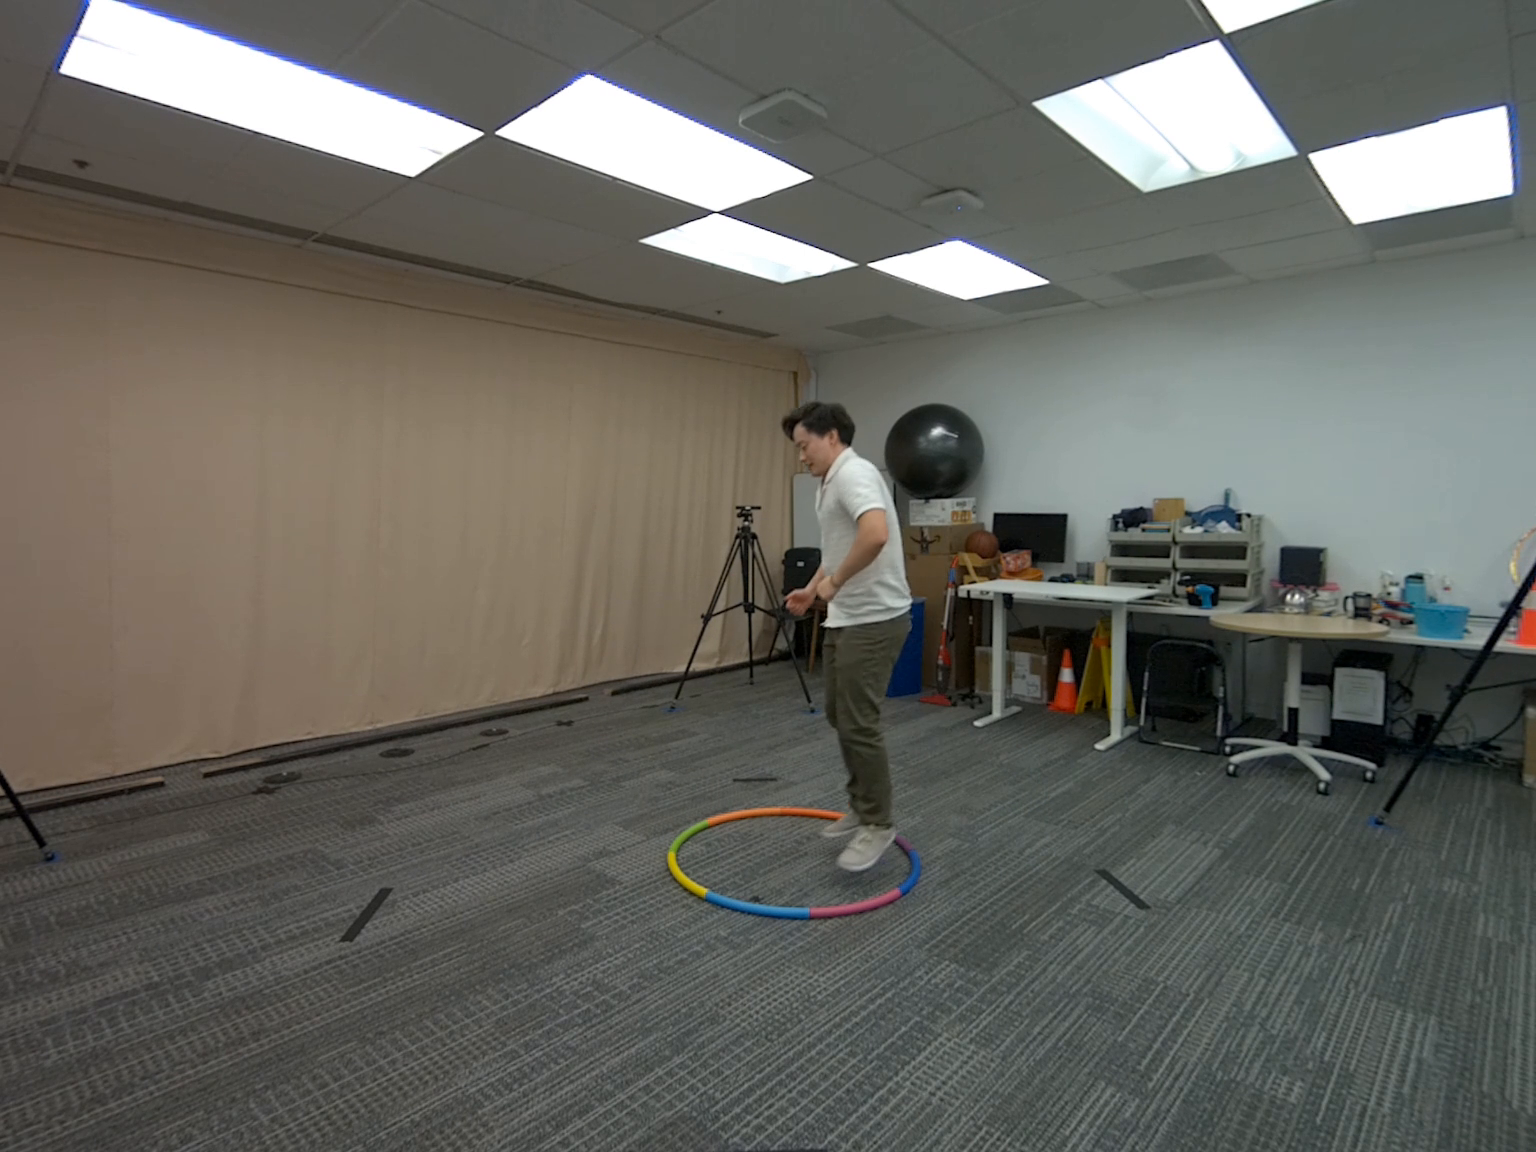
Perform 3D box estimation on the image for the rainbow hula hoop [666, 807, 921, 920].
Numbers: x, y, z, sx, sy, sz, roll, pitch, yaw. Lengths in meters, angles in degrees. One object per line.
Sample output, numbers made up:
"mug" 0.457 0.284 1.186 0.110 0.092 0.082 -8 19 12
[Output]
"rainbow hula hoop" 0.098 1.086 3.315 0.978 0.035 0.982 0 5 -2
